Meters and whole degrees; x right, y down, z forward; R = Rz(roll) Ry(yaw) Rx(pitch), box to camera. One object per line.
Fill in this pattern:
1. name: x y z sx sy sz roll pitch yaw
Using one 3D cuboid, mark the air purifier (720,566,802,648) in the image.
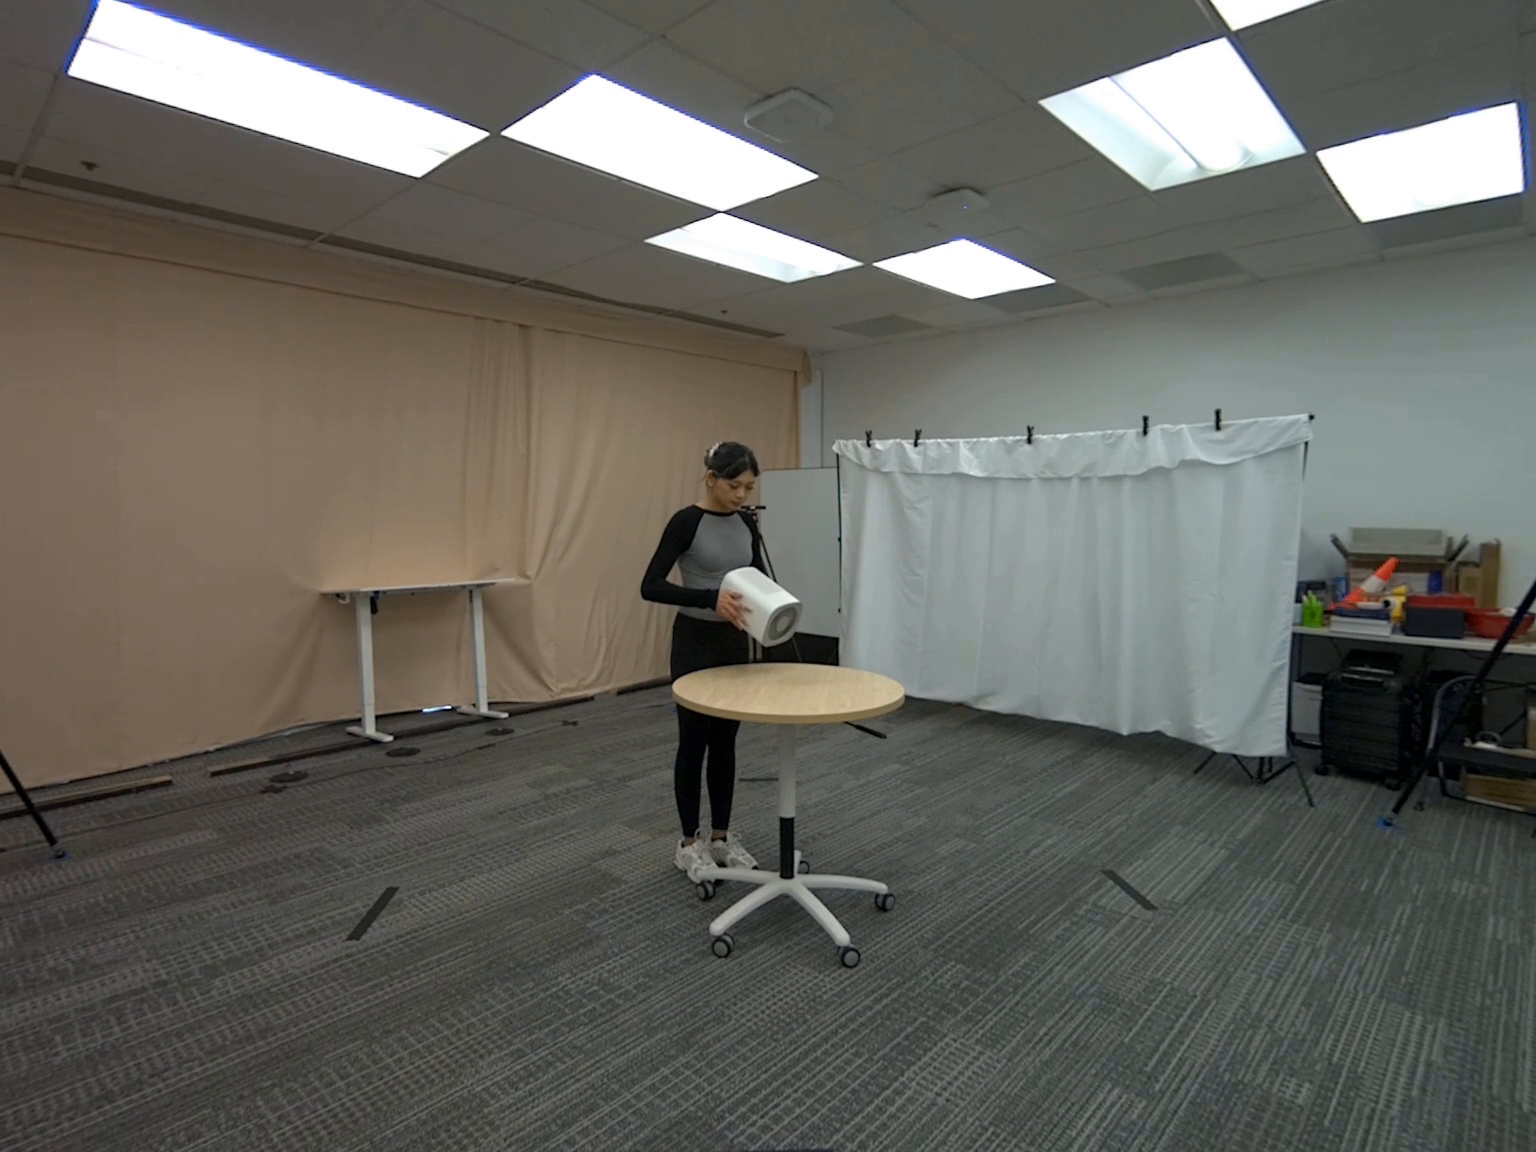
1. air purifier: -0.028 0.104 2.983 0.274 0.170 0.167 35 32 33
